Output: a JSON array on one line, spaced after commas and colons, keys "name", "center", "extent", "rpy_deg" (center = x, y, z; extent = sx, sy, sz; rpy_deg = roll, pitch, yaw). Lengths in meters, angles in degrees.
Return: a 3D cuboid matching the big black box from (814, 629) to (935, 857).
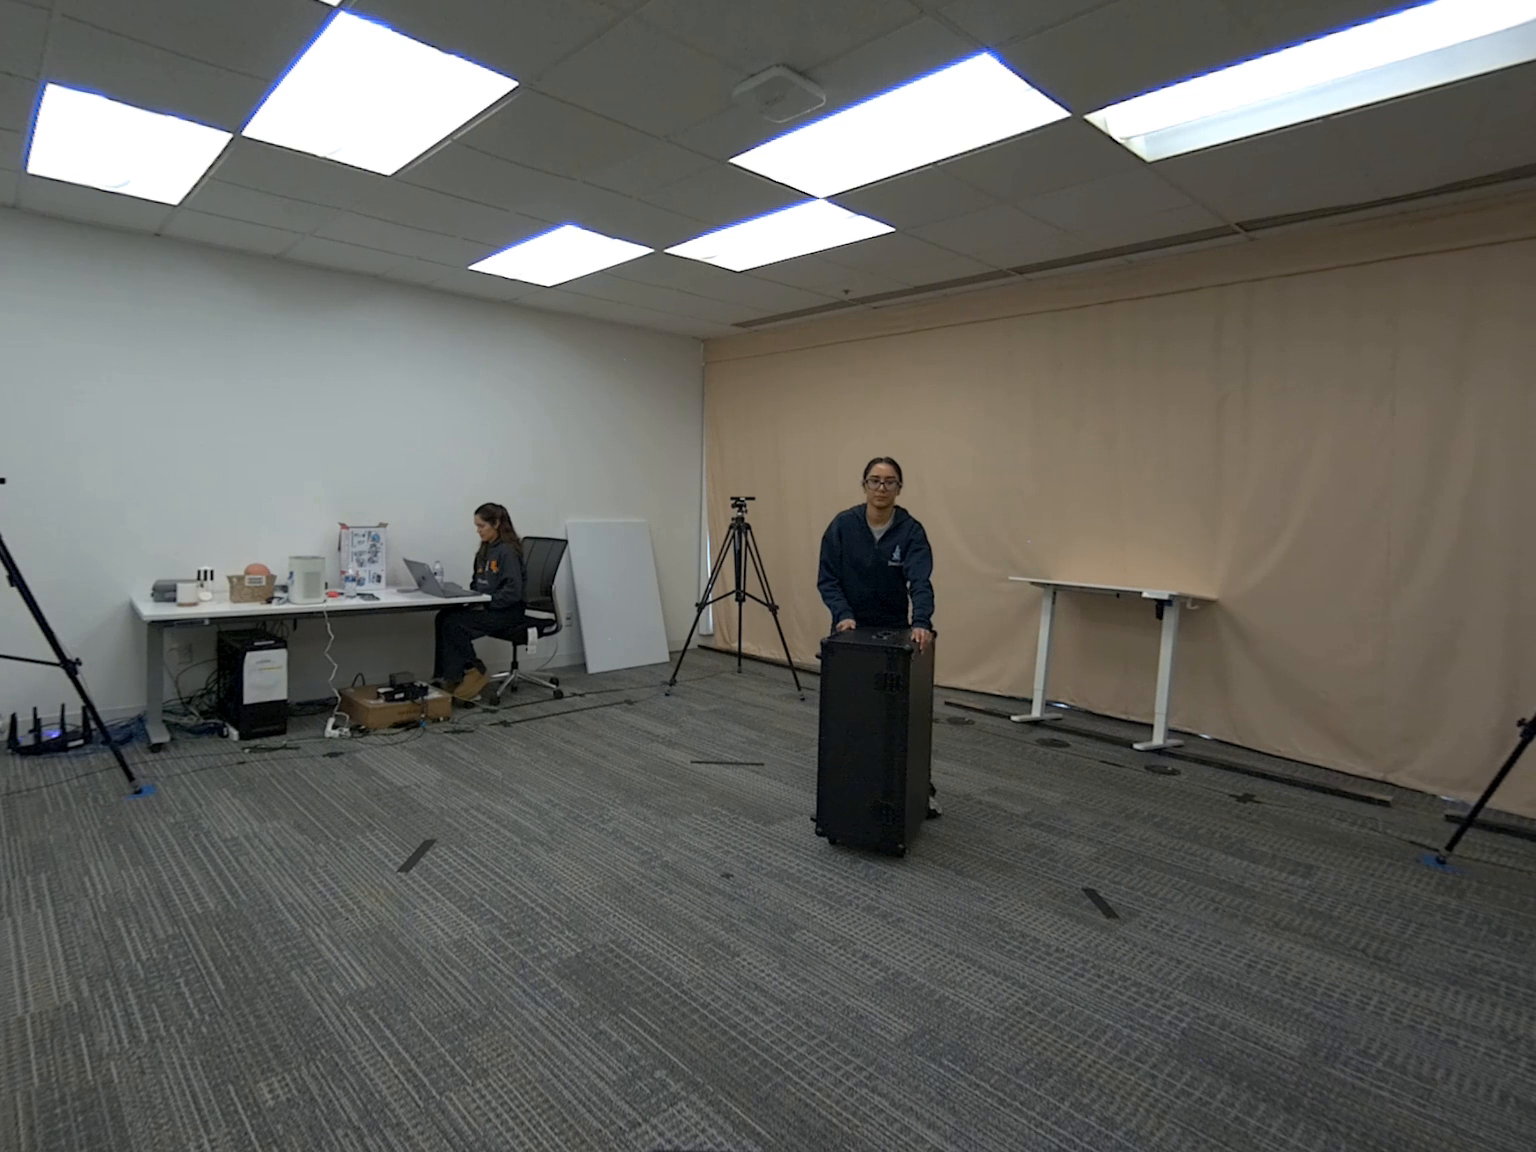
[{"name": "big black box", "center": [0.427, 0.671, 3.445], "extent": [0.403, 0.860, 0.513], "rpy_deg": [1, 3, 23]}]
